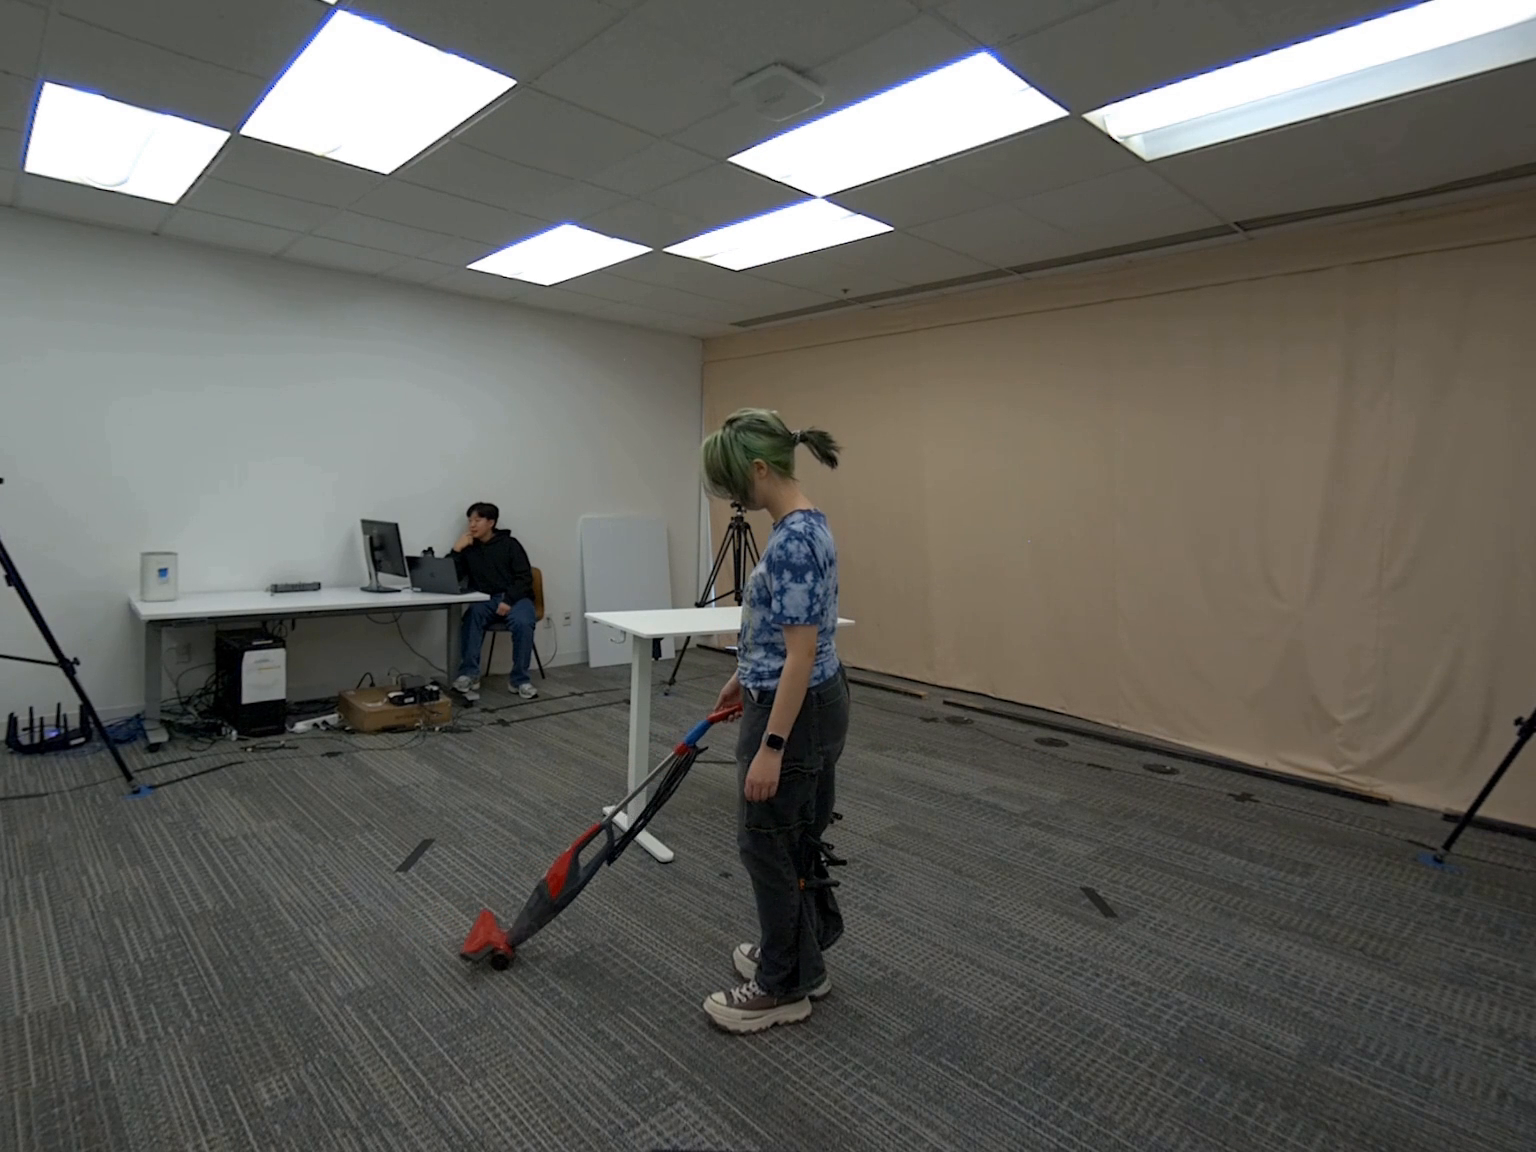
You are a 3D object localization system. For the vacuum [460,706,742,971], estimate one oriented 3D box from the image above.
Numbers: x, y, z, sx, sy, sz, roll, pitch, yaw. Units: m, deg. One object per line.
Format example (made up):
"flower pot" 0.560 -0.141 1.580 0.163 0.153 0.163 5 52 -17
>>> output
"vacuum" -0.460 0.770 2.498 1.049 0.143 0.254 -42 6 0
